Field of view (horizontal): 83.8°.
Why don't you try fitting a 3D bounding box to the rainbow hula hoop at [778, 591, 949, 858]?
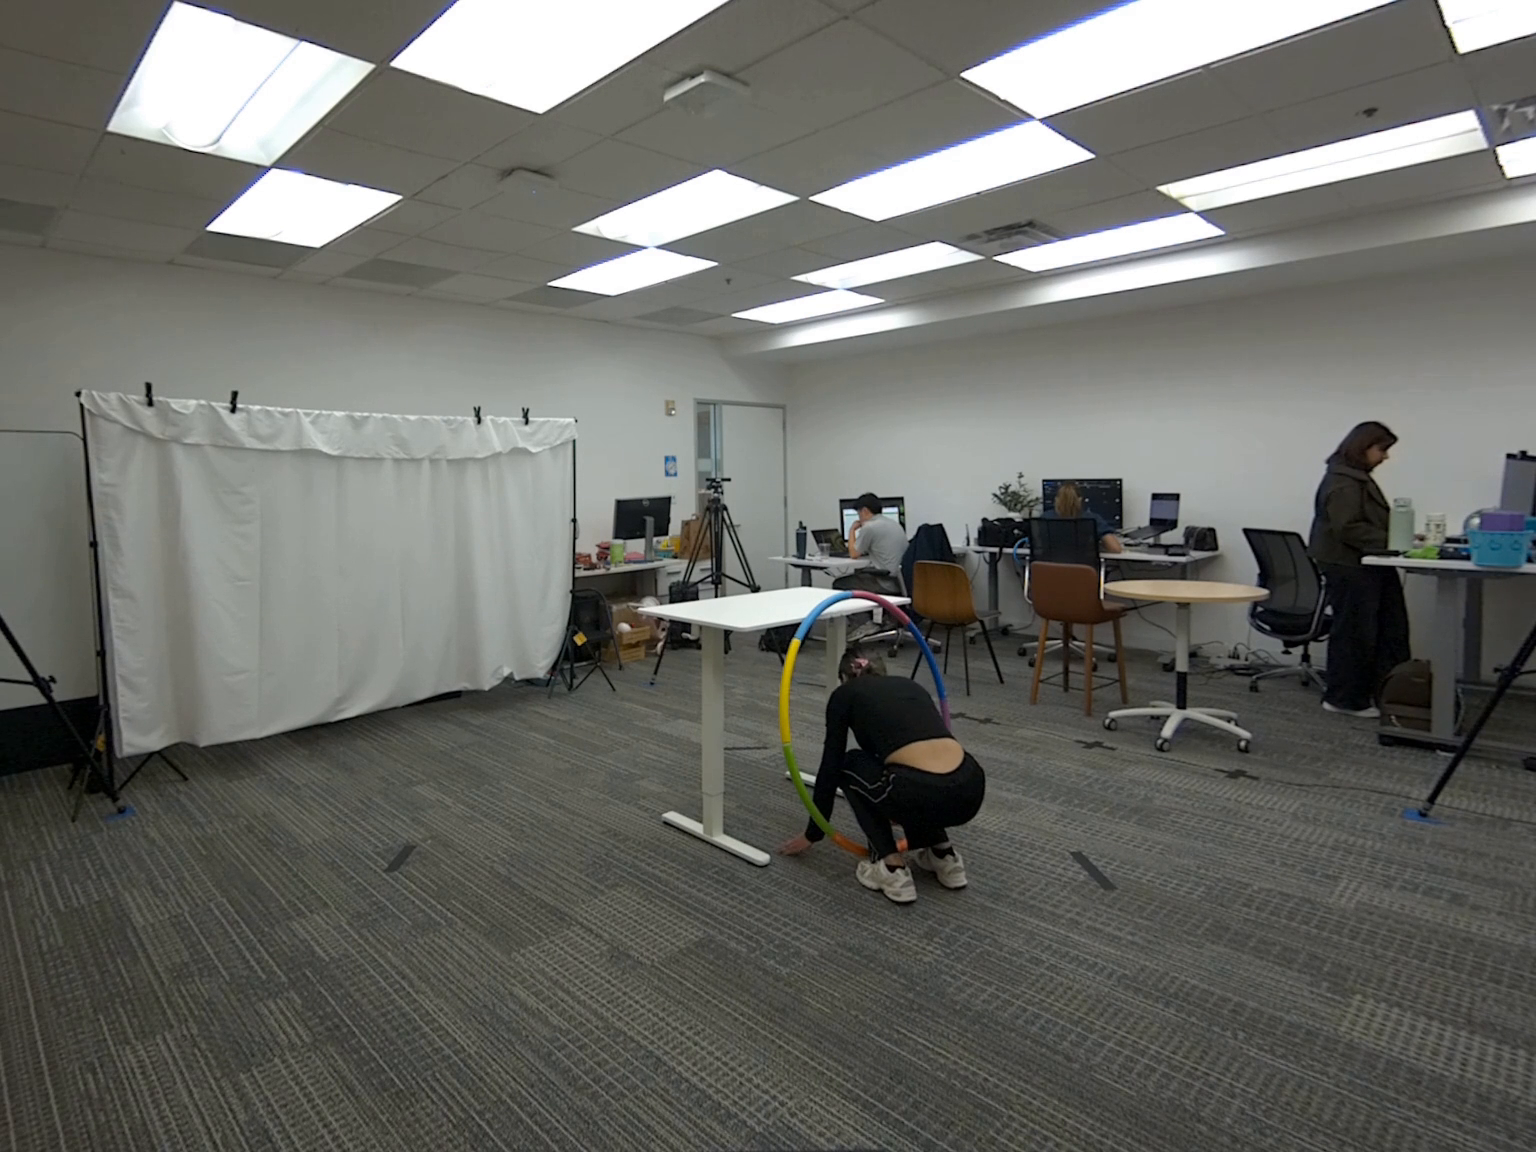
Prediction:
[{"bbox_3d":[0.401,0.545,3.247,0.953,0.987,0.036,-6,-10,-44],"label":"rainbow hula hoop"}]
